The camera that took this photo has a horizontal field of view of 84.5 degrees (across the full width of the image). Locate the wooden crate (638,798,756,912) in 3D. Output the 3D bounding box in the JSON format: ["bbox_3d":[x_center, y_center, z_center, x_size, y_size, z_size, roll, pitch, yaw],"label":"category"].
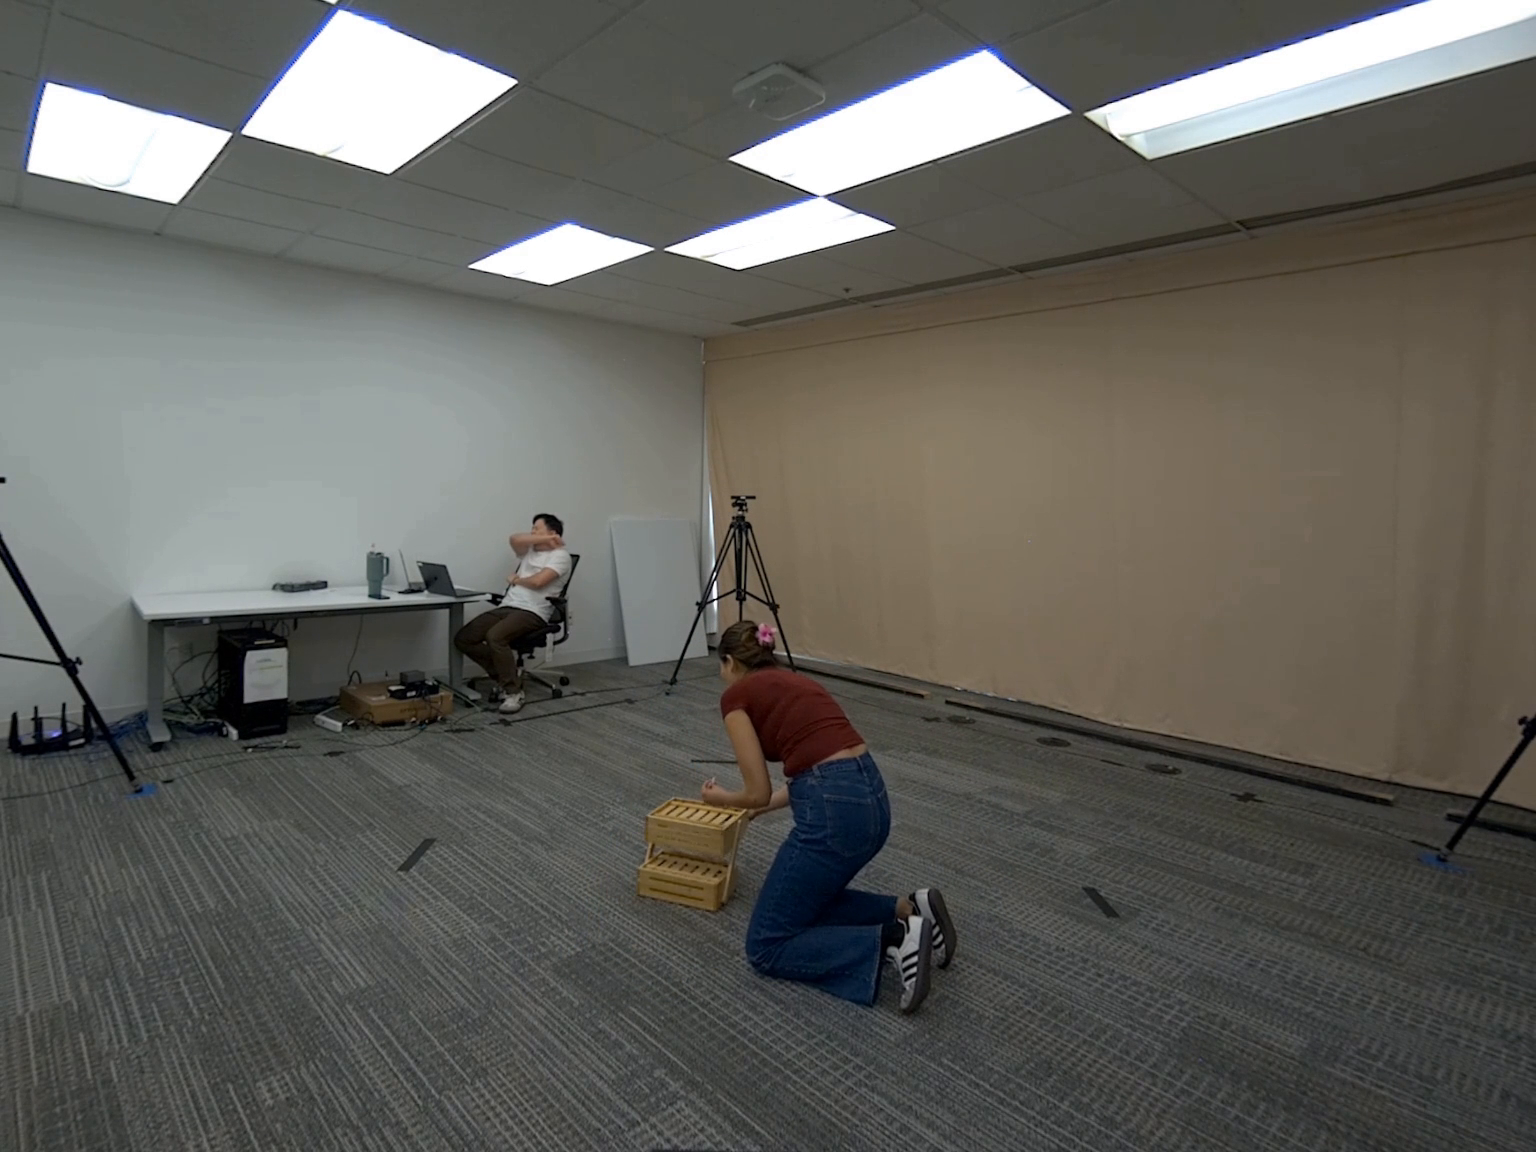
[{"bbox_3d":[-0.271,0.982,2.995,0.330,0.273,0.298,2,3,20],"label":"wooden crate"}]
